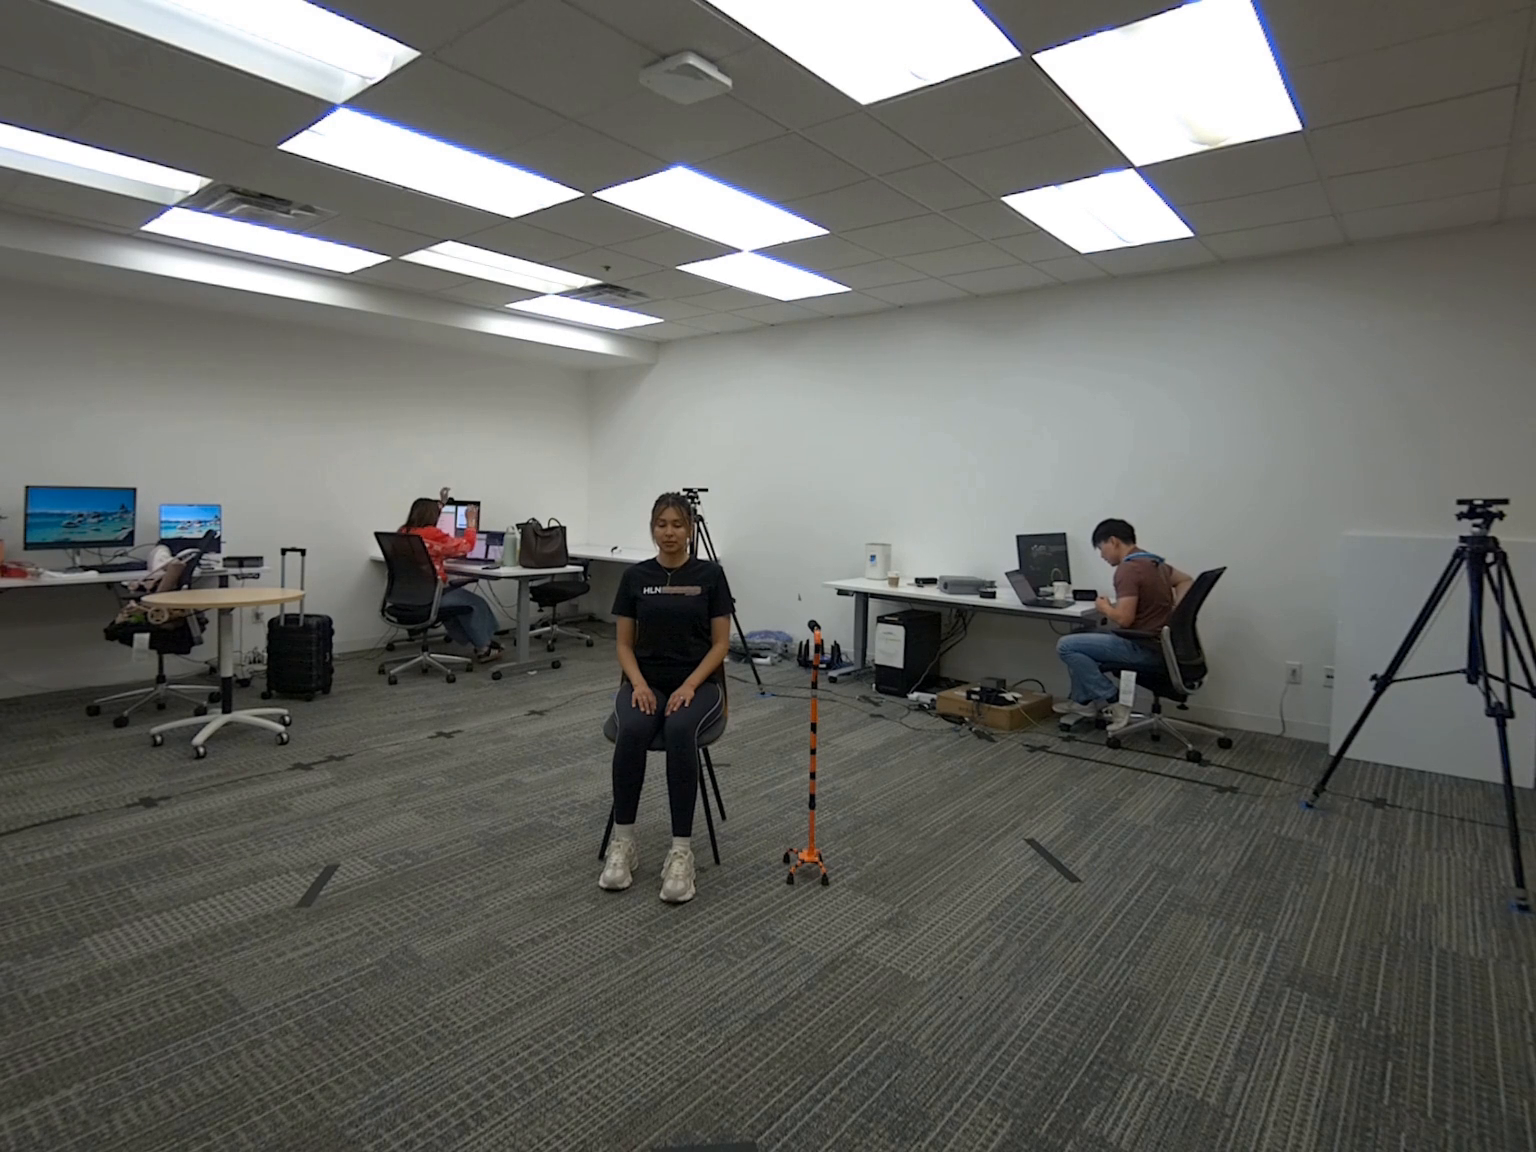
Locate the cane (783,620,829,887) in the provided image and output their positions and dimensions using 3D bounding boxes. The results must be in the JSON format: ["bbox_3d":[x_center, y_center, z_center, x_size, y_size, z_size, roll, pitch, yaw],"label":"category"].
[{"bbox_3d":[0.143,0.627,3.077,0.151,0.905,0.208,0,3,-4],"label":"cane"}]
